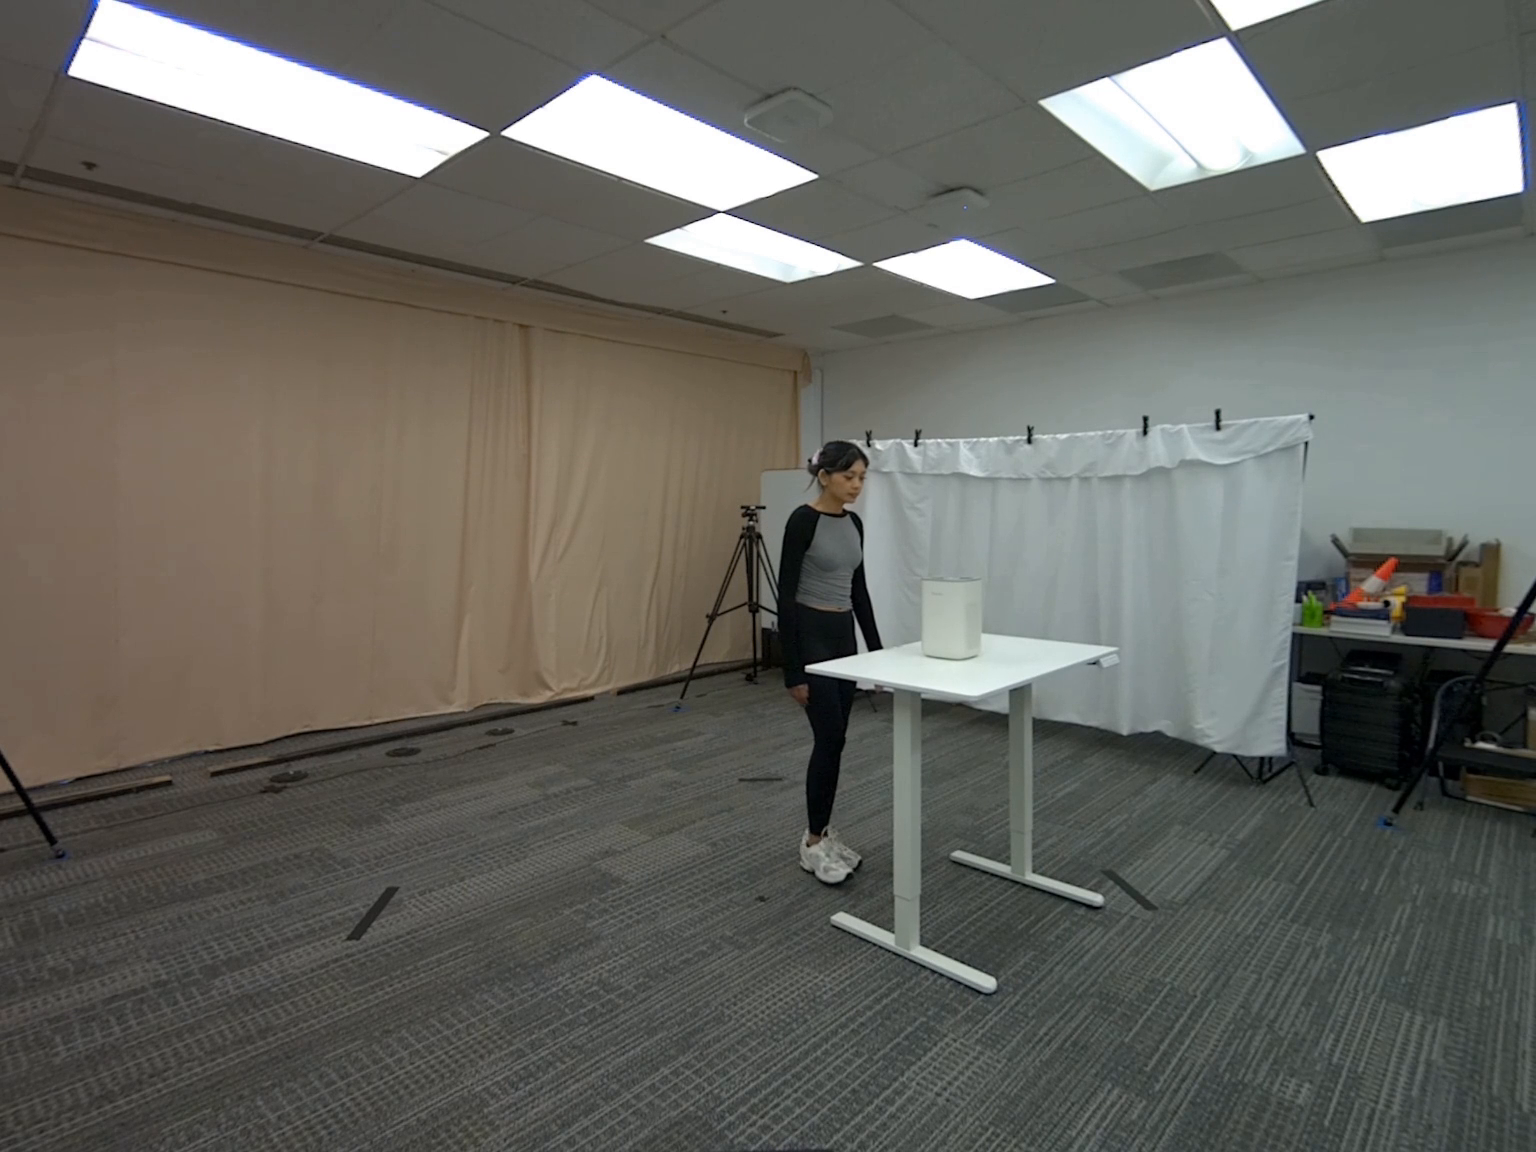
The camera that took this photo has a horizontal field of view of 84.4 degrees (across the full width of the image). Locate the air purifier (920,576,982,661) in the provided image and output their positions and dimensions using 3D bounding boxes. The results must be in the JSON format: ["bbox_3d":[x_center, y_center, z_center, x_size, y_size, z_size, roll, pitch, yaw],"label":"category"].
[{"bbox_3d":[0.629,0.141,2.840,0.177,0.265,0.166,3,5,43],"label":"air purifier"}]
